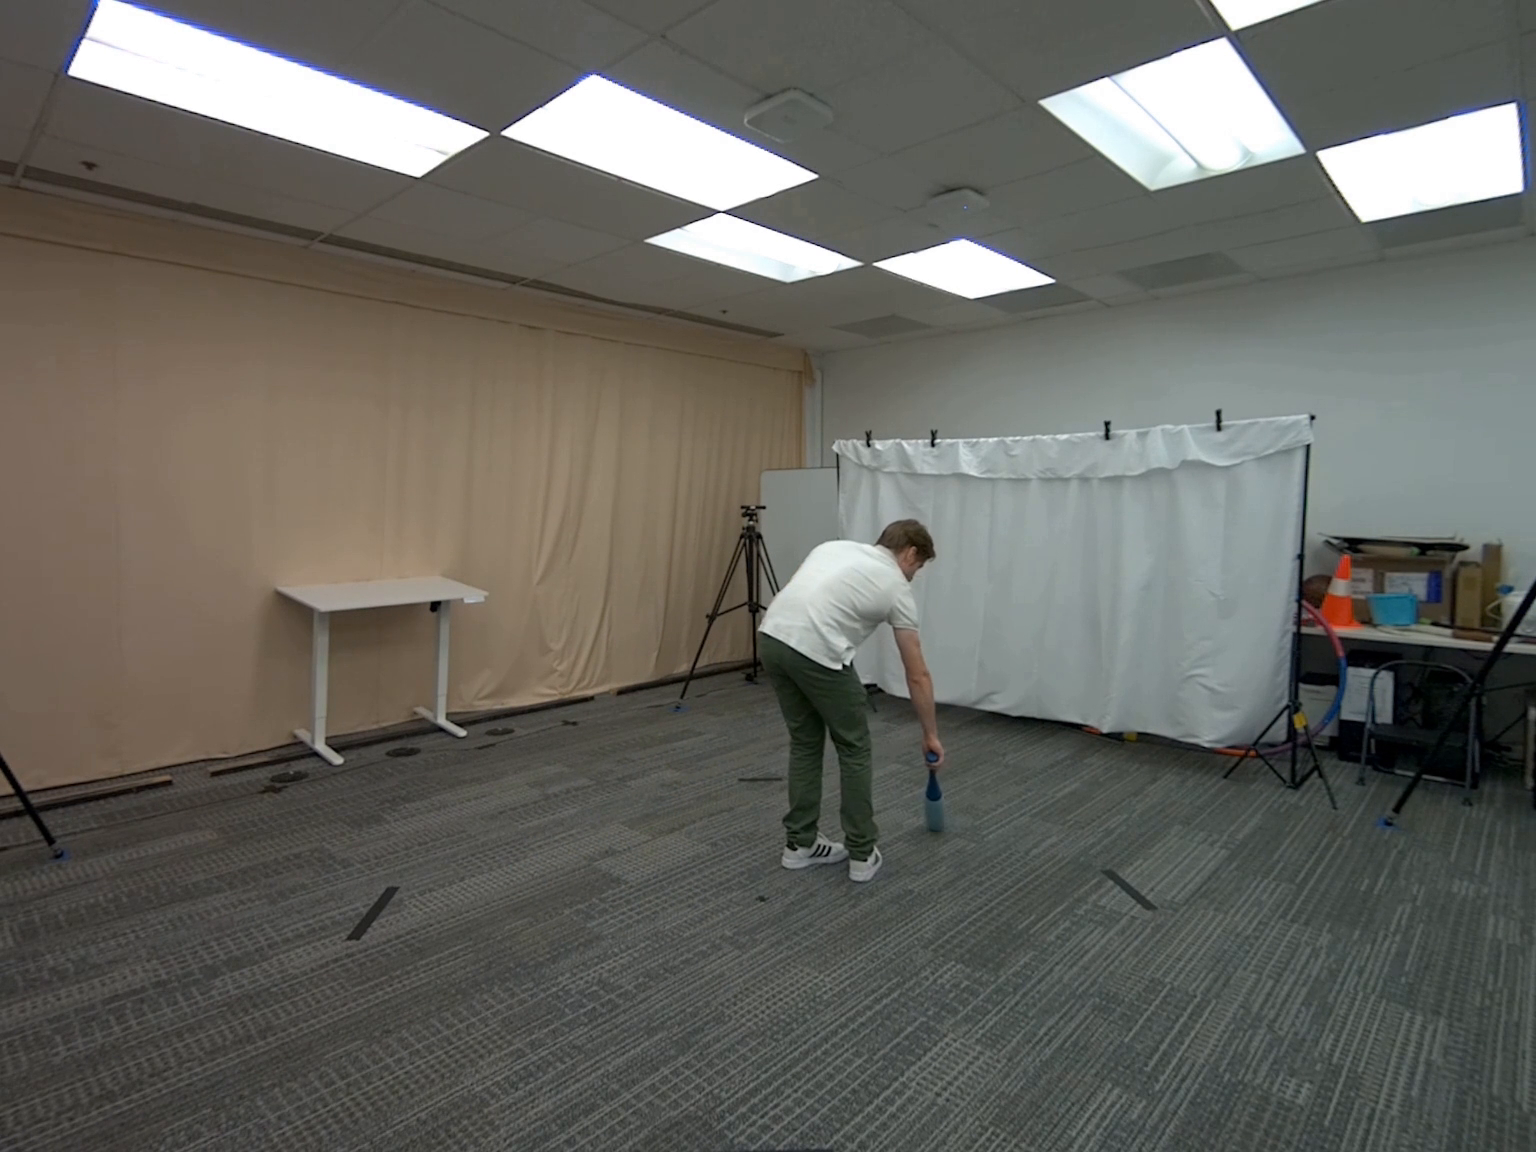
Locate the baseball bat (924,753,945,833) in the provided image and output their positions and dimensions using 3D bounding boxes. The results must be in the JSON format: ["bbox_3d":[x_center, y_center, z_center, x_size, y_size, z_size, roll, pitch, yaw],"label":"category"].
[{"bbox_3d":[0.674,0.889,3.455,0.090,0.528,0.091,-9,45,7],"label":"baseball bat"}]
